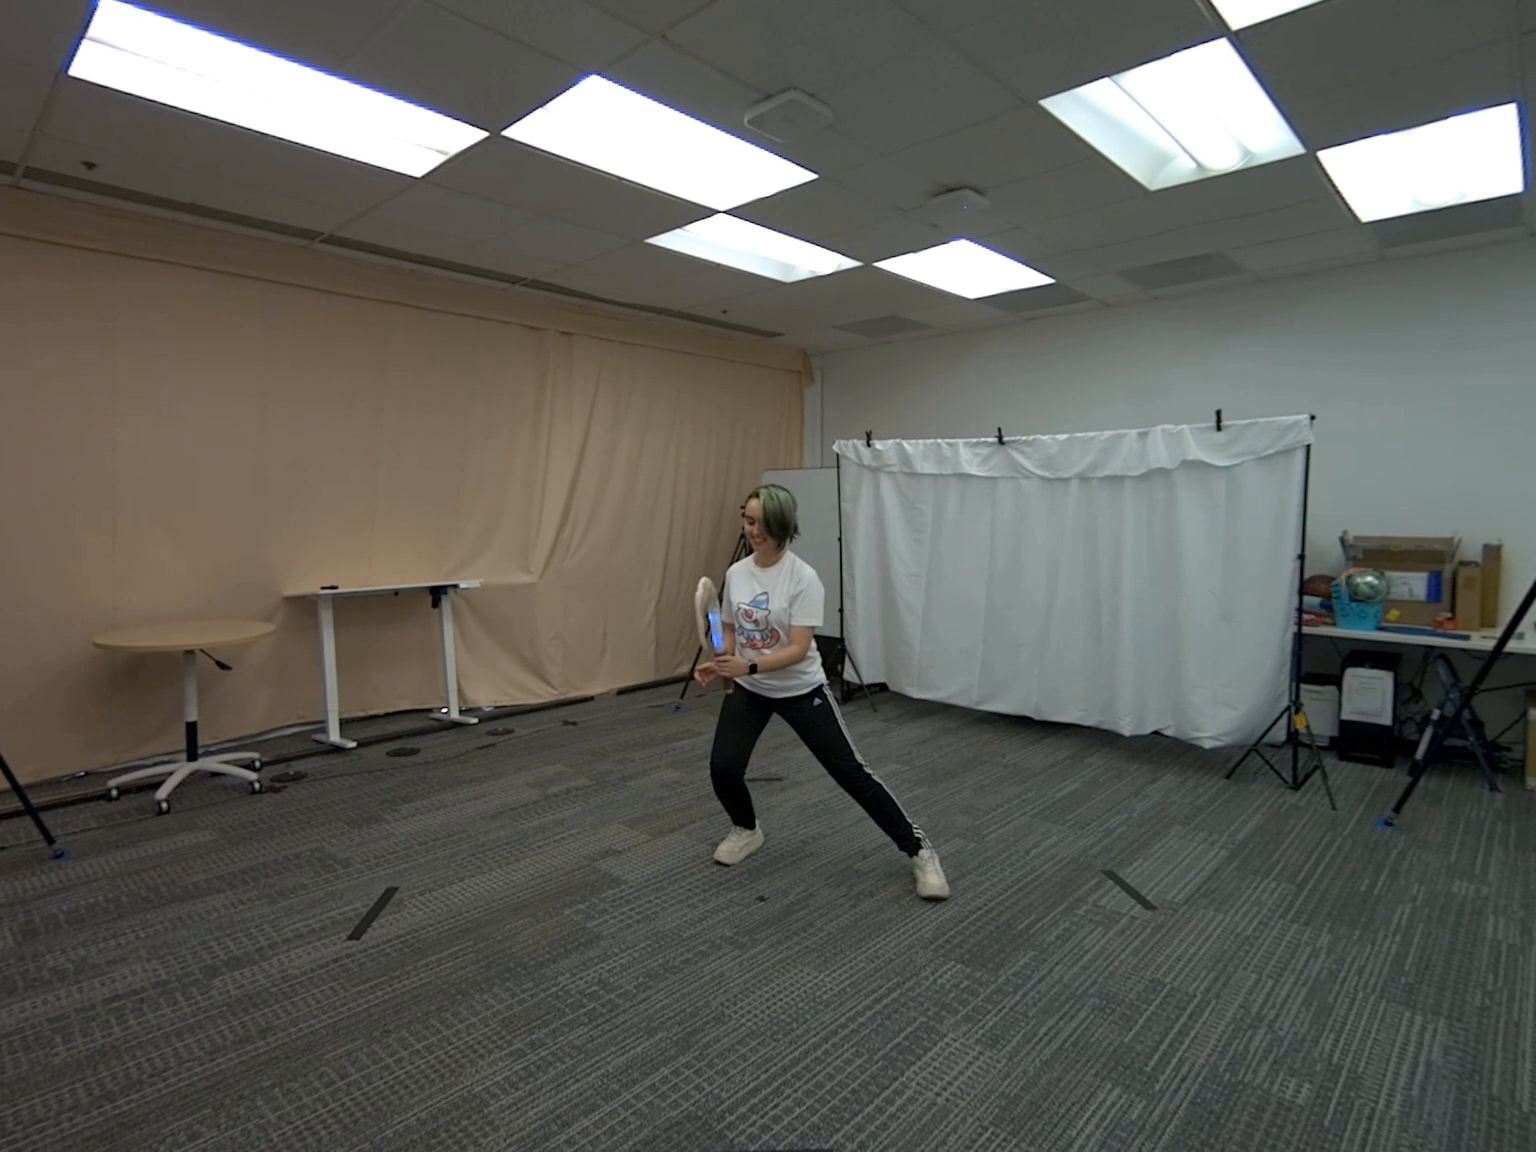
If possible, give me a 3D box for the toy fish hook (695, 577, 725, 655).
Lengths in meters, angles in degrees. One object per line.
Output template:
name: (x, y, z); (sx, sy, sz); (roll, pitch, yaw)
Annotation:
toy fish hook: (-0.182, 0.236, 2.863); (0.049, 0.496, 0.225); (1, 33, 14)
